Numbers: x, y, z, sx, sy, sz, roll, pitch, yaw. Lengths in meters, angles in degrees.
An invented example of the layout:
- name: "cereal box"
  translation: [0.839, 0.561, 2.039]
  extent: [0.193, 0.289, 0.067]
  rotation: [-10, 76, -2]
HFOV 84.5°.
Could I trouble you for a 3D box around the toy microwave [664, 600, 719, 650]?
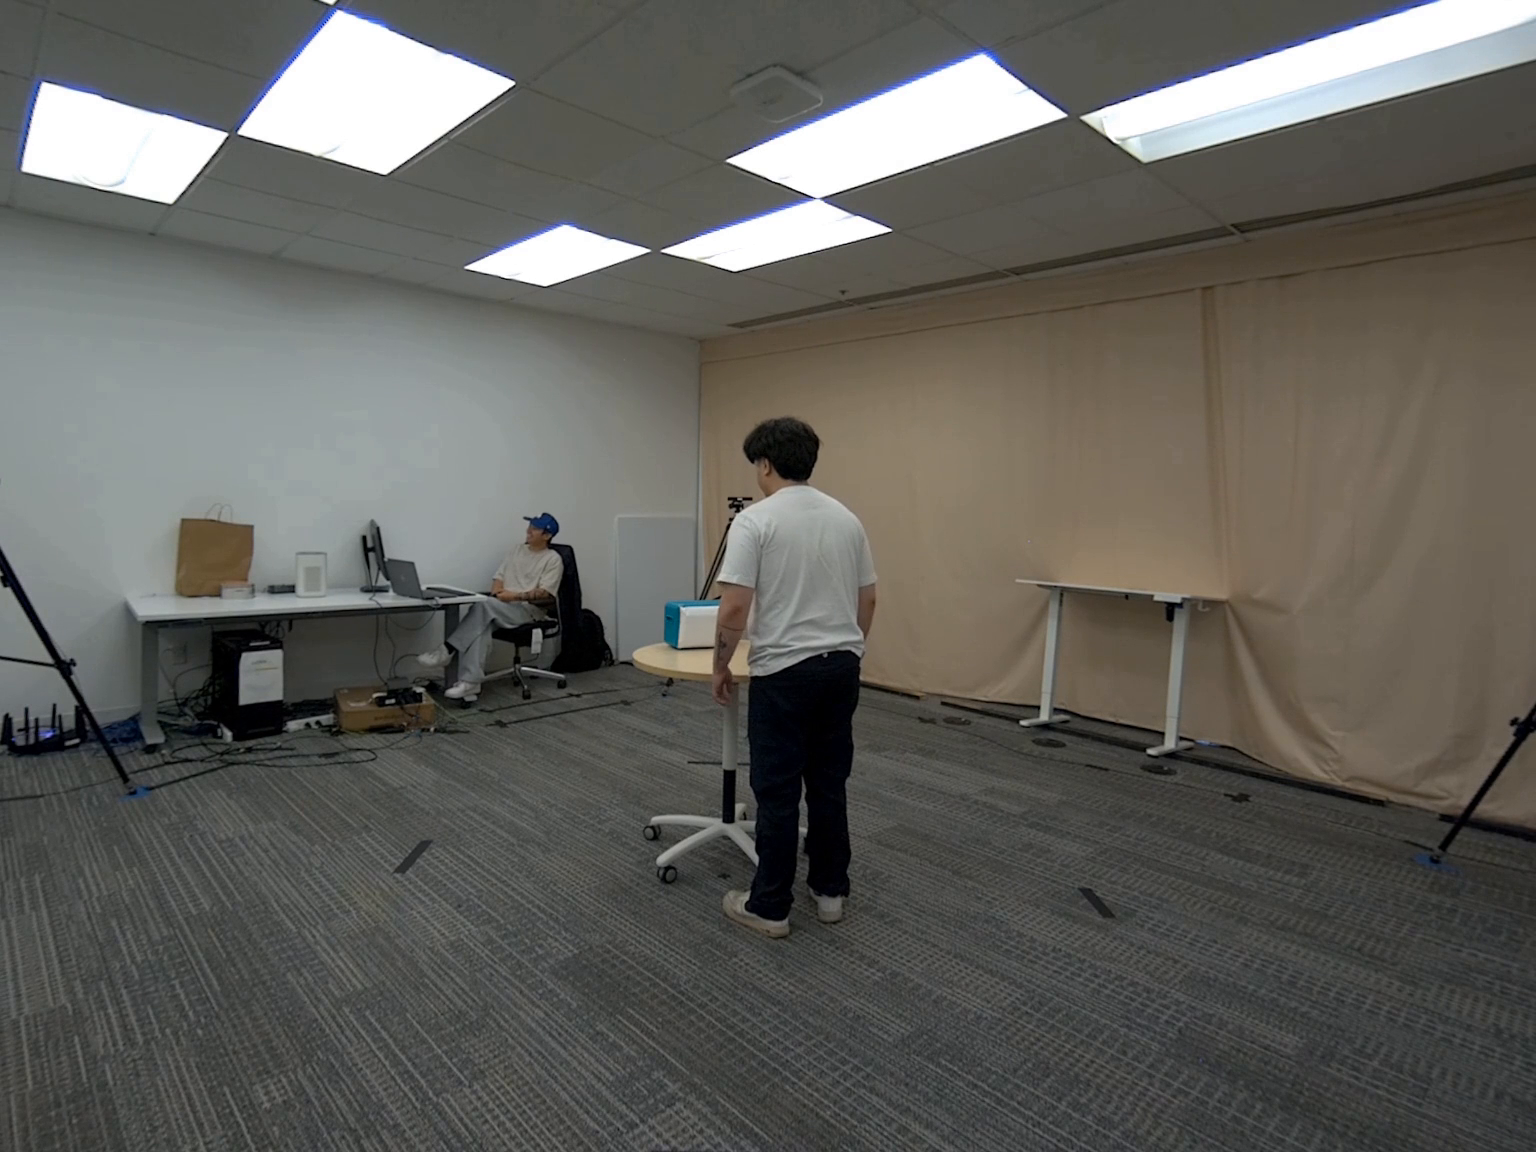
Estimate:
- name: "toy microwave"
  translation: [-0.274, 0.194, 3.411]
  extent: [0.281, 0.184, 0.155]
  rotation: [0, 4, -27]
